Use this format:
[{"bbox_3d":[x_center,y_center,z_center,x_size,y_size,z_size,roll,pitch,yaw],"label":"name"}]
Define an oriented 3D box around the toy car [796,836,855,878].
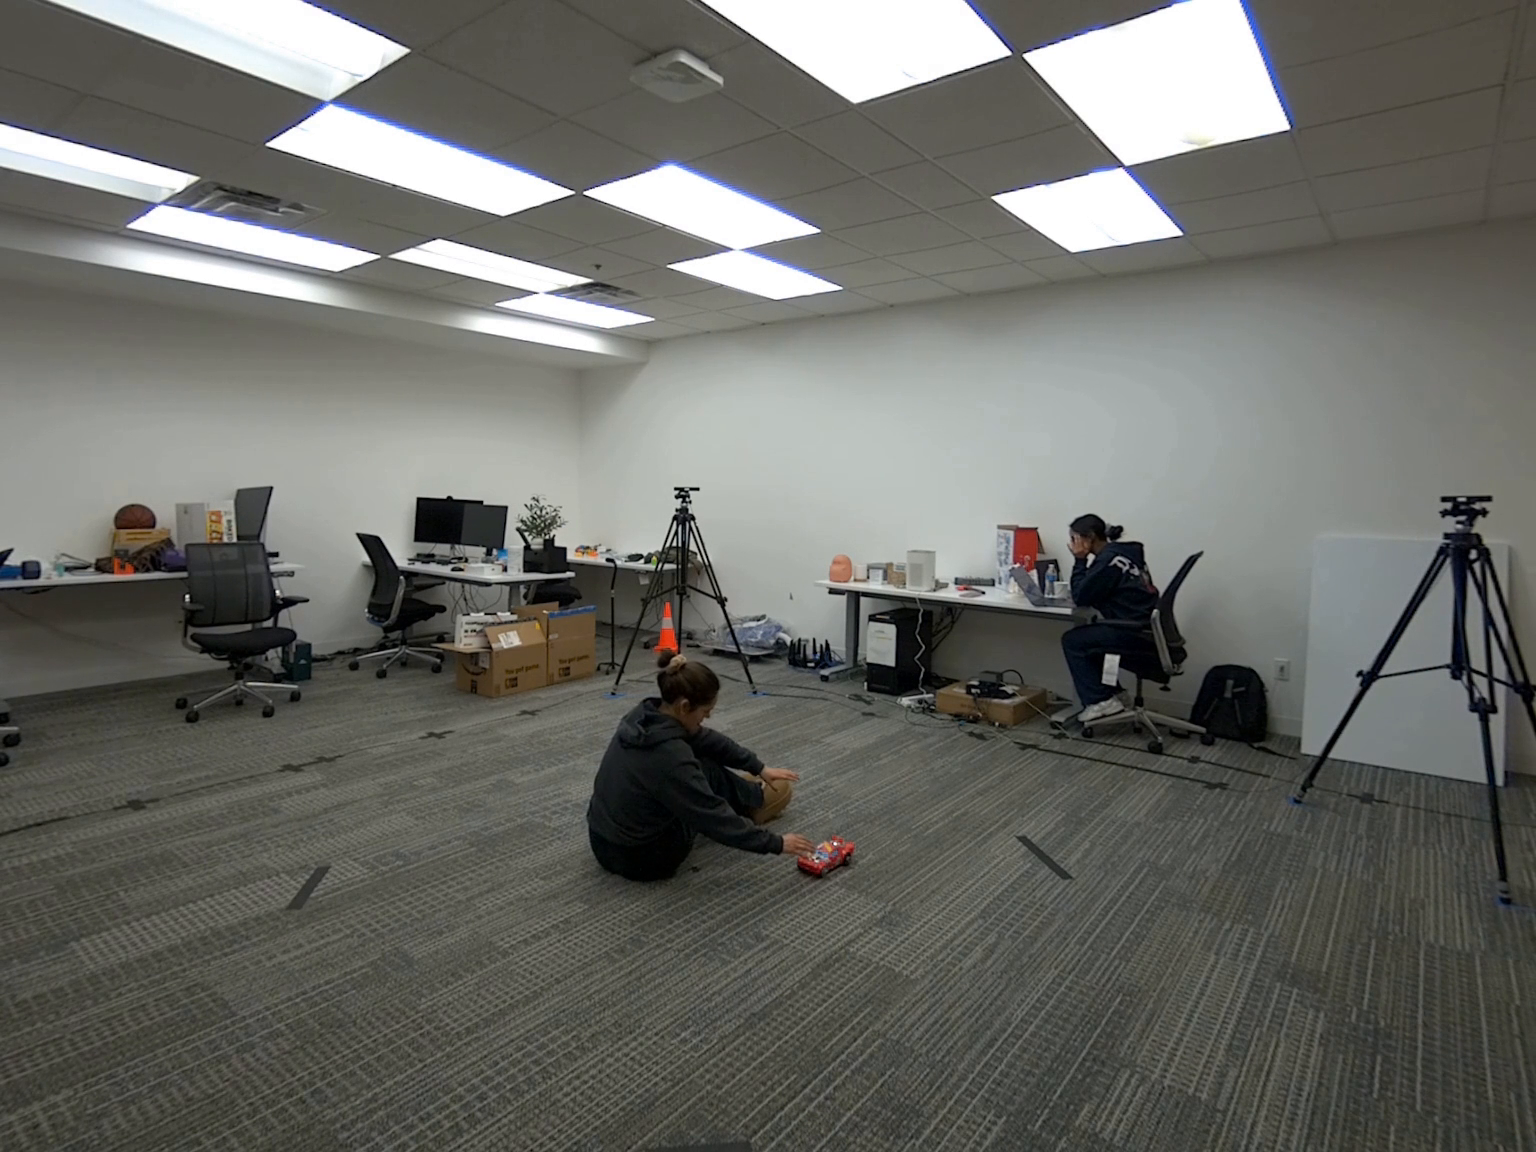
[{"bbox_3d":[0.228,1.039,3.157,0.135,0.082,0.249,5,18,41],"label":"toy car"}]
